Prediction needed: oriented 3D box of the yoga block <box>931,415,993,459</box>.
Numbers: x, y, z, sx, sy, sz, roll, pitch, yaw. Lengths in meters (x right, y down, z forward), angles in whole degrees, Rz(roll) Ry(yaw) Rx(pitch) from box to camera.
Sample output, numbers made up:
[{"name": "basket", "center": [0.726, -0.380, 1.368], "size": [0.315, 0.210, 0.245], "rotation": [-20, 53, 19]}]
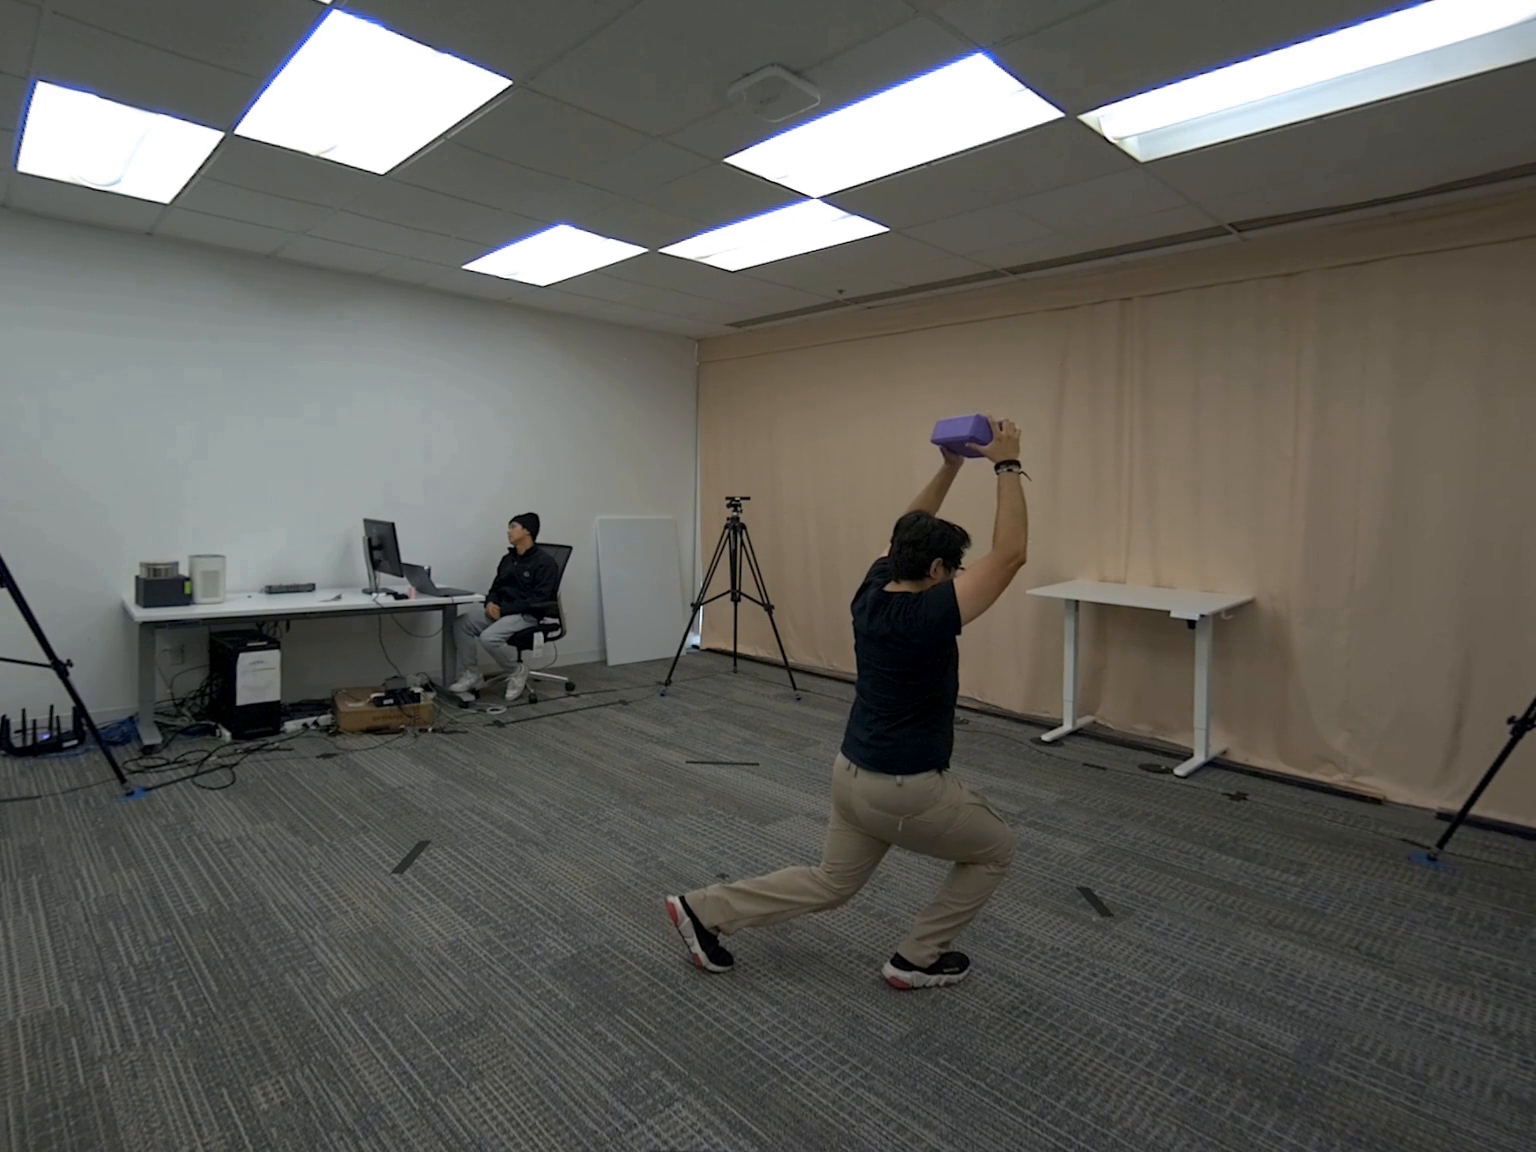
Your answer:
[{"name": "yoga block", "center": [0.583, -0.405, 2.431], "size": [0.147, 0.076, 0.232], "rotation": [17, 1, -13]}]
